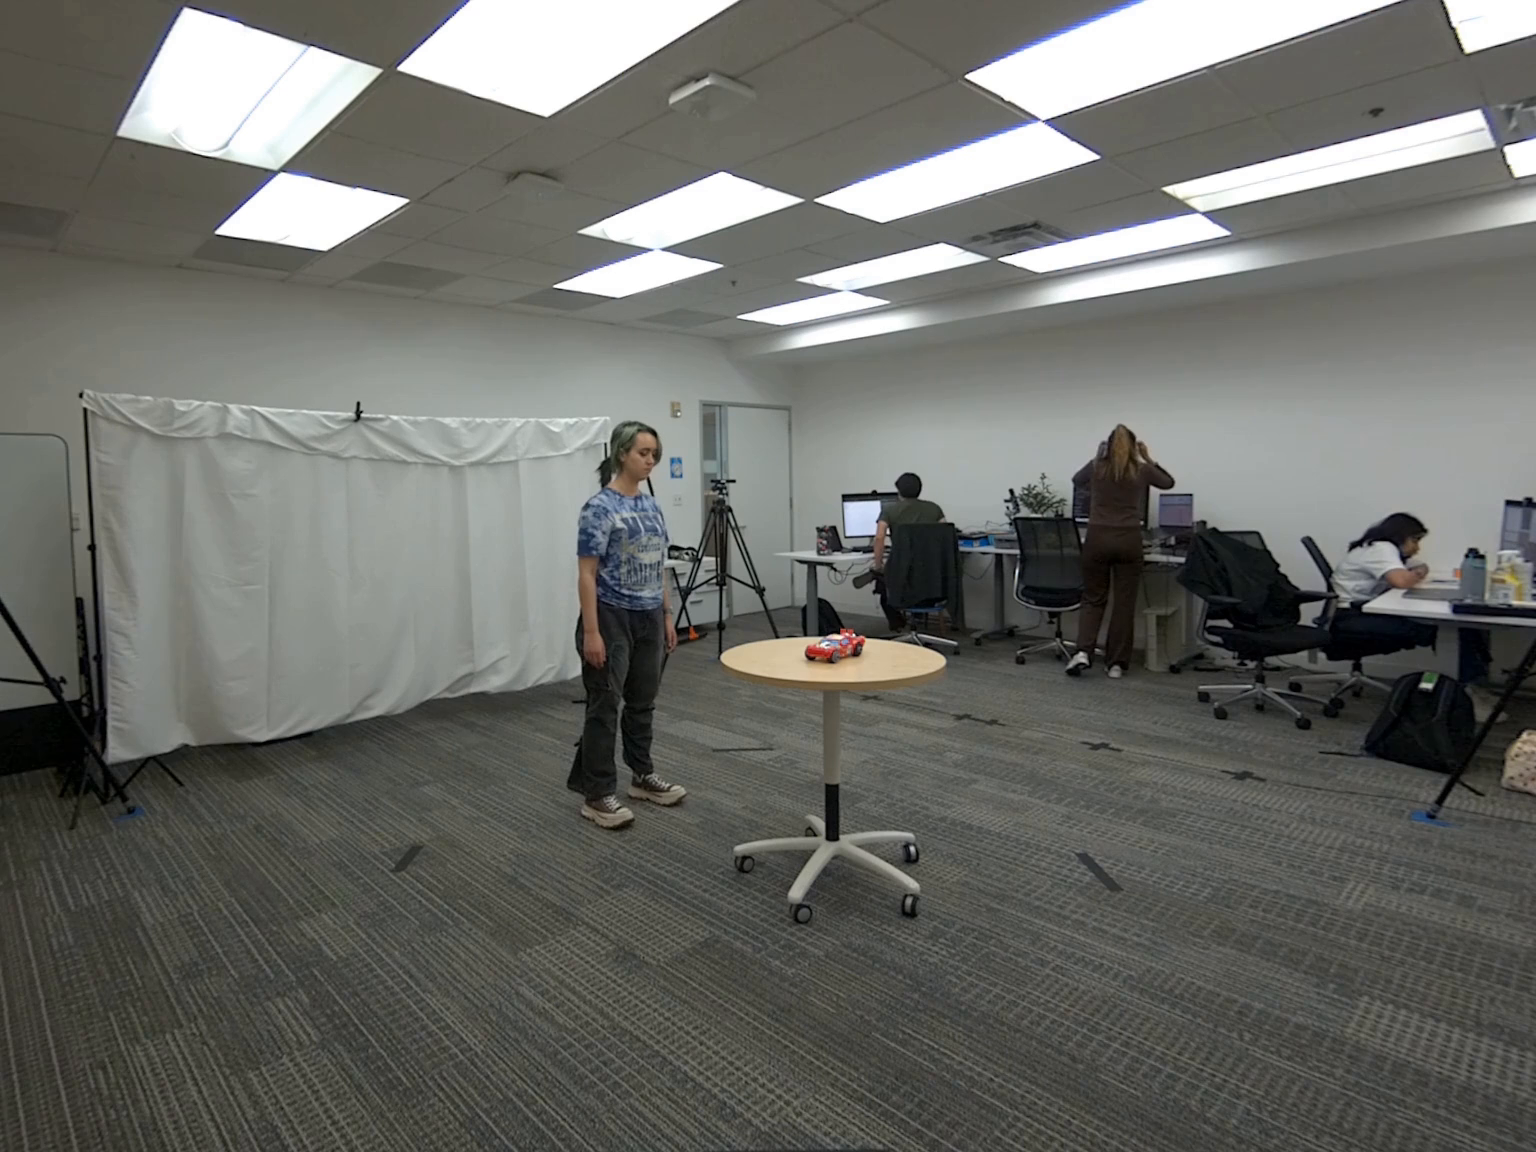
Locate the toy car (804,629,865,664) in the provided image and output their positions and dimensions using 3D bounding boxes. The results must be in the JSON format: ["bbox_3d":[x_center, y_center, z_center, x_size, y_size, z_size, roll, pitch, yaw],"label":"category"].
[{"bbox_3d":[0.246,0.246,2.936,0.134,0.082,0.250,3,18,39],"label":"toy car"}]
